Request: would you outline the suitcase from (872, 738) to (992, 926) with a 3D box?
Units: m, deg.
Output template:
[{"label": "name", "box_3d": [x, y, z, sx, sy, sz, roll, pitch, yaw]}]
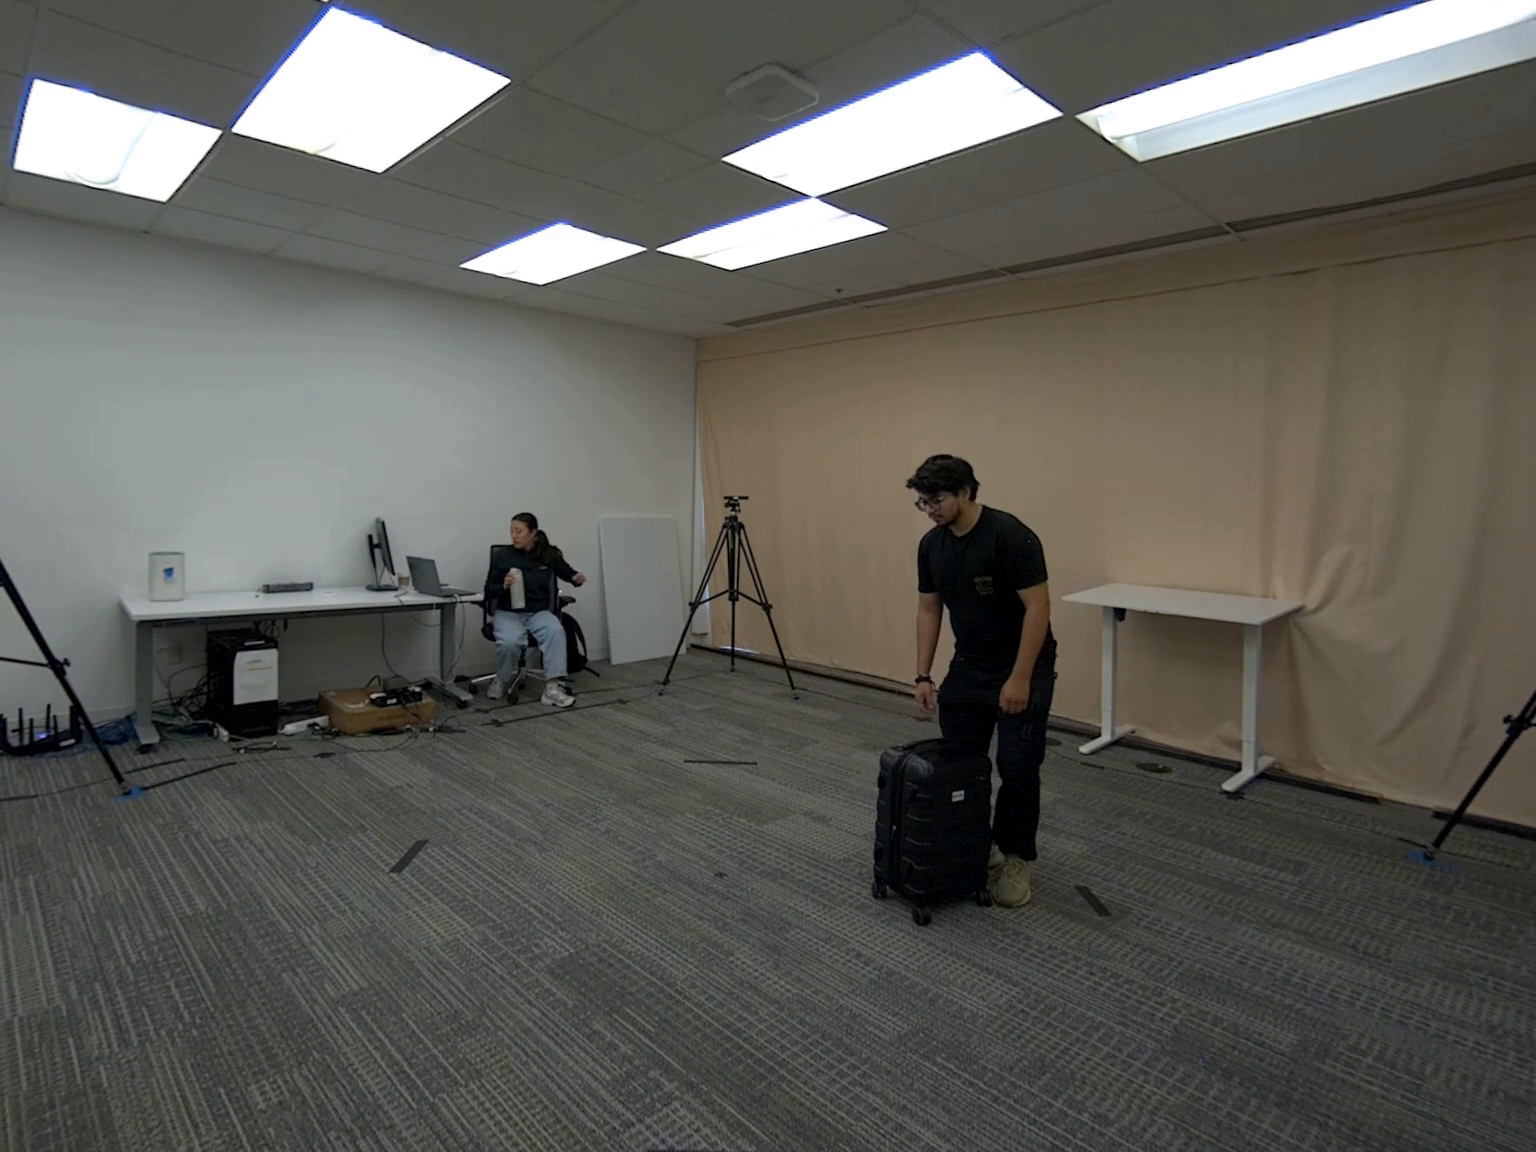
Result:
[{"label": "suitcase", "box_3d": [0.575, 0.858, 2.941, 0.367, 0.548, 0.254, 0, 3, -32]}]
